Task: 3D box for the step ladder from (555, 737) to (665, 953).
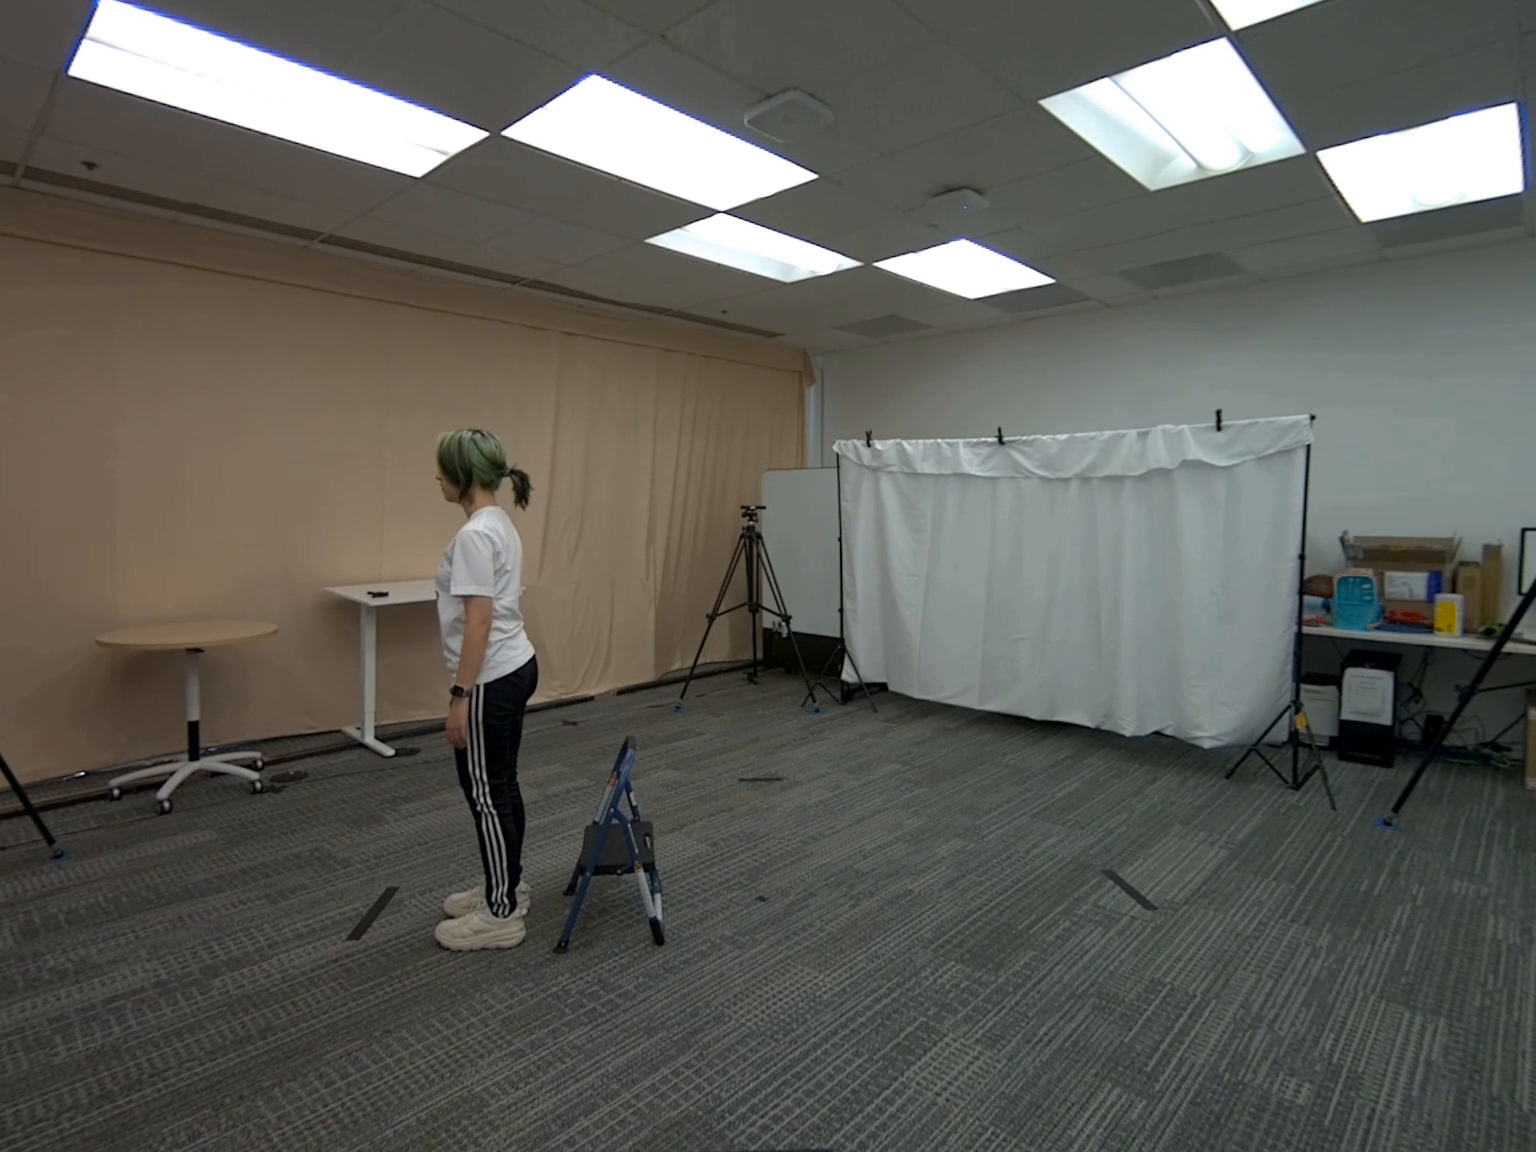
[{"bbox_3d":[-0.531,0.863,2.840,0.346,0.605,0.435,-1,4,-9],"label":"step ladder"}]
